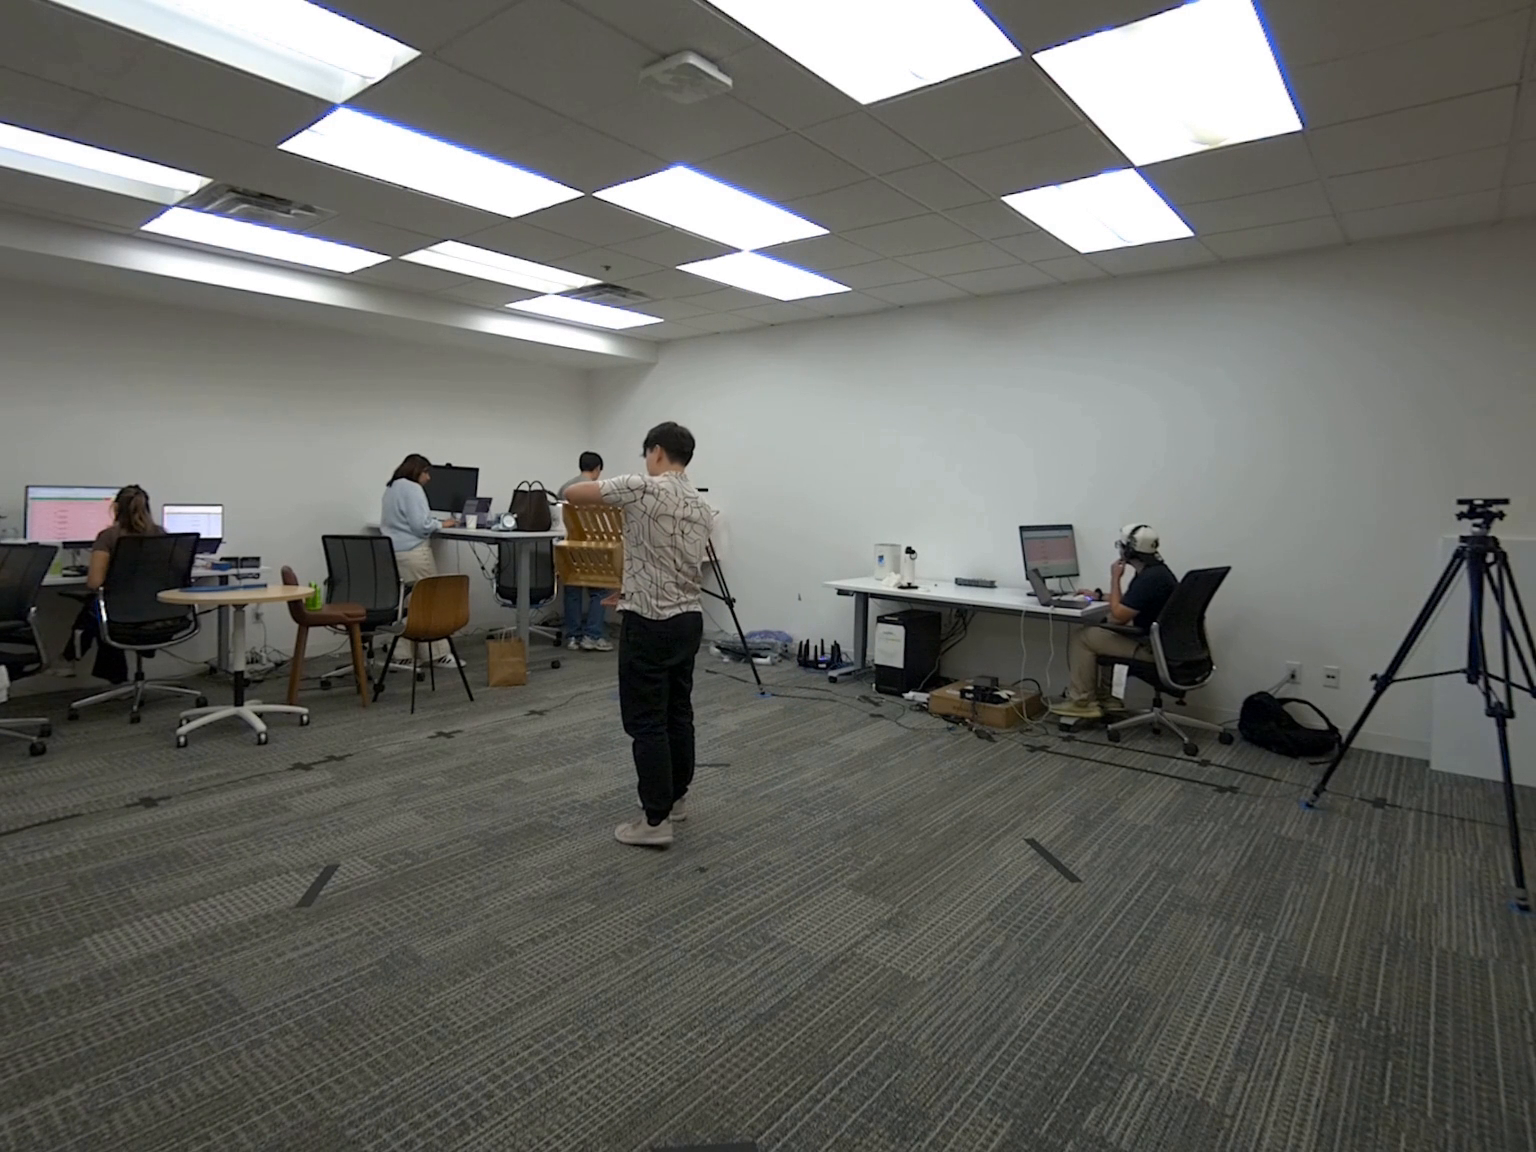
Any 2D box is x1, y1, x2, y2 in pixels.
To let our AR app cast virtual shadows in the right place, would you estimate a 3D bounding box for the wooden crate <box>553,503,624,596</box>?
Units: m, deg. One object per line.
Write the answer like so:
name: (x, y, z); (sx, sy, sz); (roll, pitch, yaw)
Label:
wooden crate: (-0.786, -0.145, 3.749); (0.331, 0.291, 0.278); (3, 45, 17)
